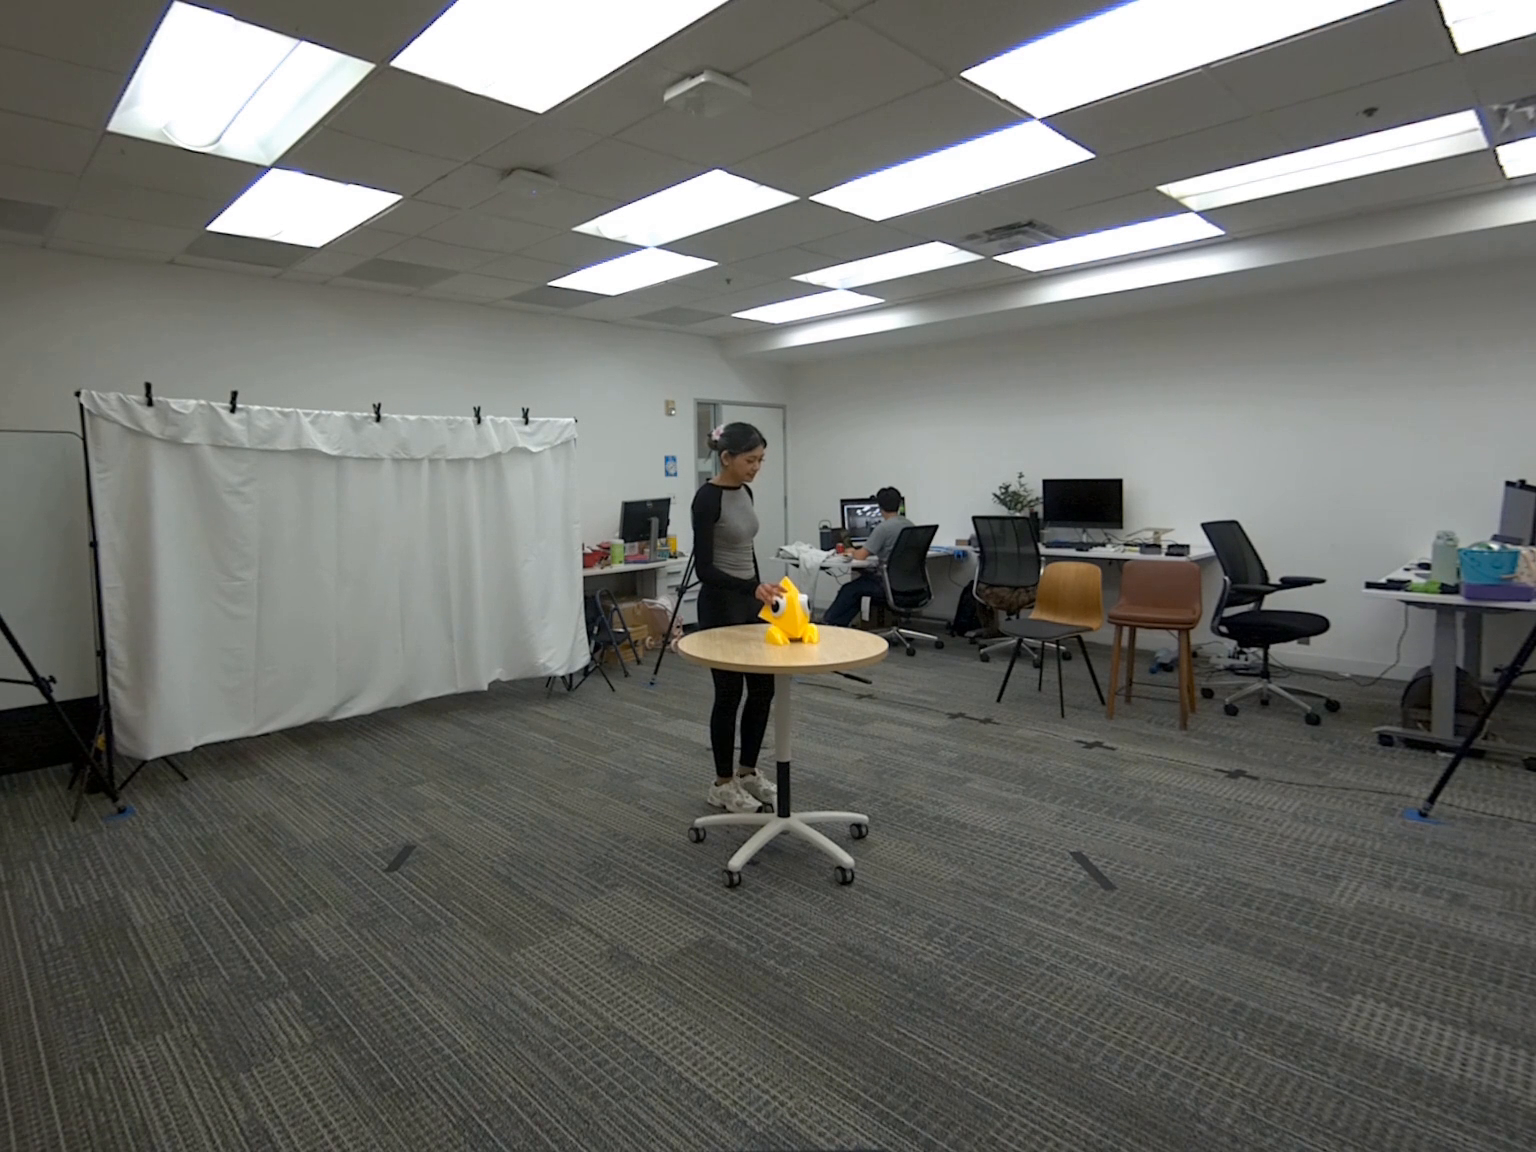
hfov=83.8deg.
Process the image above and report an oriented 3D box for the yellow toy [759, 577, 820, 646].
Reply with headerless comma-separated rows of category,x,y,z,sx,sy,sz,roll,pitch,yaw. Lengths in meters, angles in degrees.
yellow toy,0.093,0.123,3.177,0.202,0.230,0.196,-1,3,-15
